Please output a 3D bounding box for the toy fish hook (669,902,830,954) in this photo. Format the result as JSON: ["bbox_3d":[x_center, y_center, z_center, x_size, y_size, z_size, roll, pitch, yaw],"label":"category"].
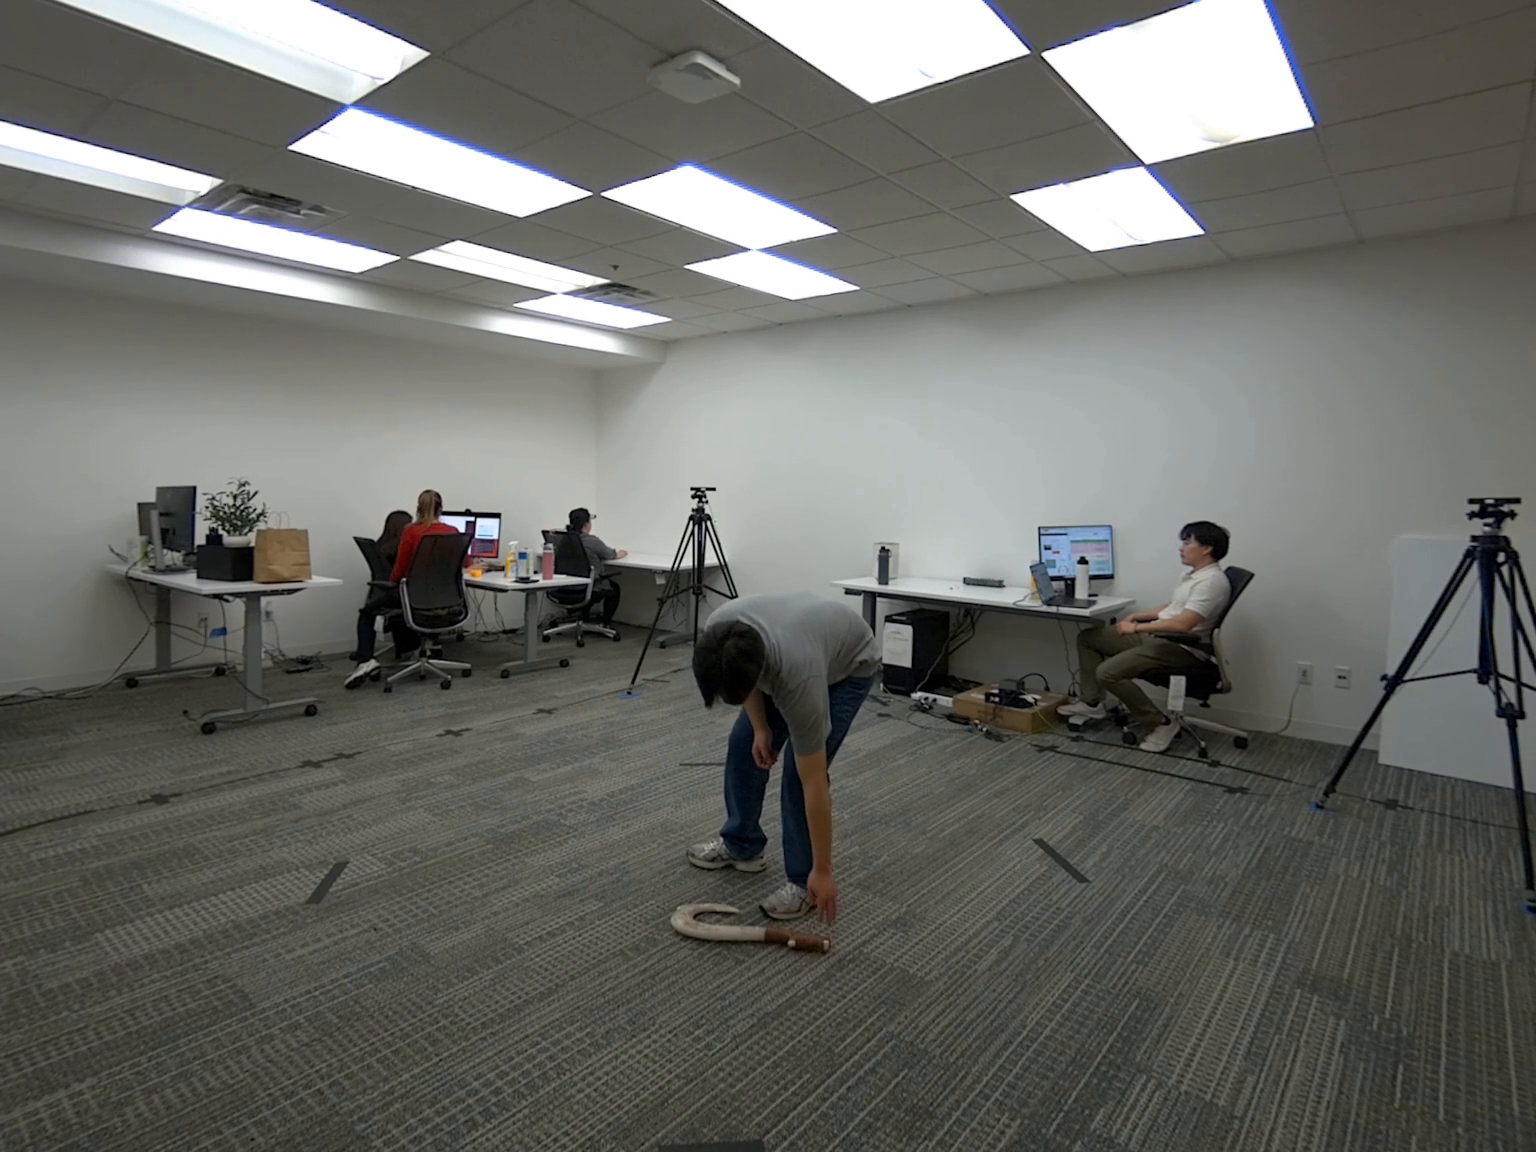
[{"bbox_3d":[-0.056,1.087,2.663,0.514,0.048,0.222,3,6,12],"label":"toy fish hook"}]
